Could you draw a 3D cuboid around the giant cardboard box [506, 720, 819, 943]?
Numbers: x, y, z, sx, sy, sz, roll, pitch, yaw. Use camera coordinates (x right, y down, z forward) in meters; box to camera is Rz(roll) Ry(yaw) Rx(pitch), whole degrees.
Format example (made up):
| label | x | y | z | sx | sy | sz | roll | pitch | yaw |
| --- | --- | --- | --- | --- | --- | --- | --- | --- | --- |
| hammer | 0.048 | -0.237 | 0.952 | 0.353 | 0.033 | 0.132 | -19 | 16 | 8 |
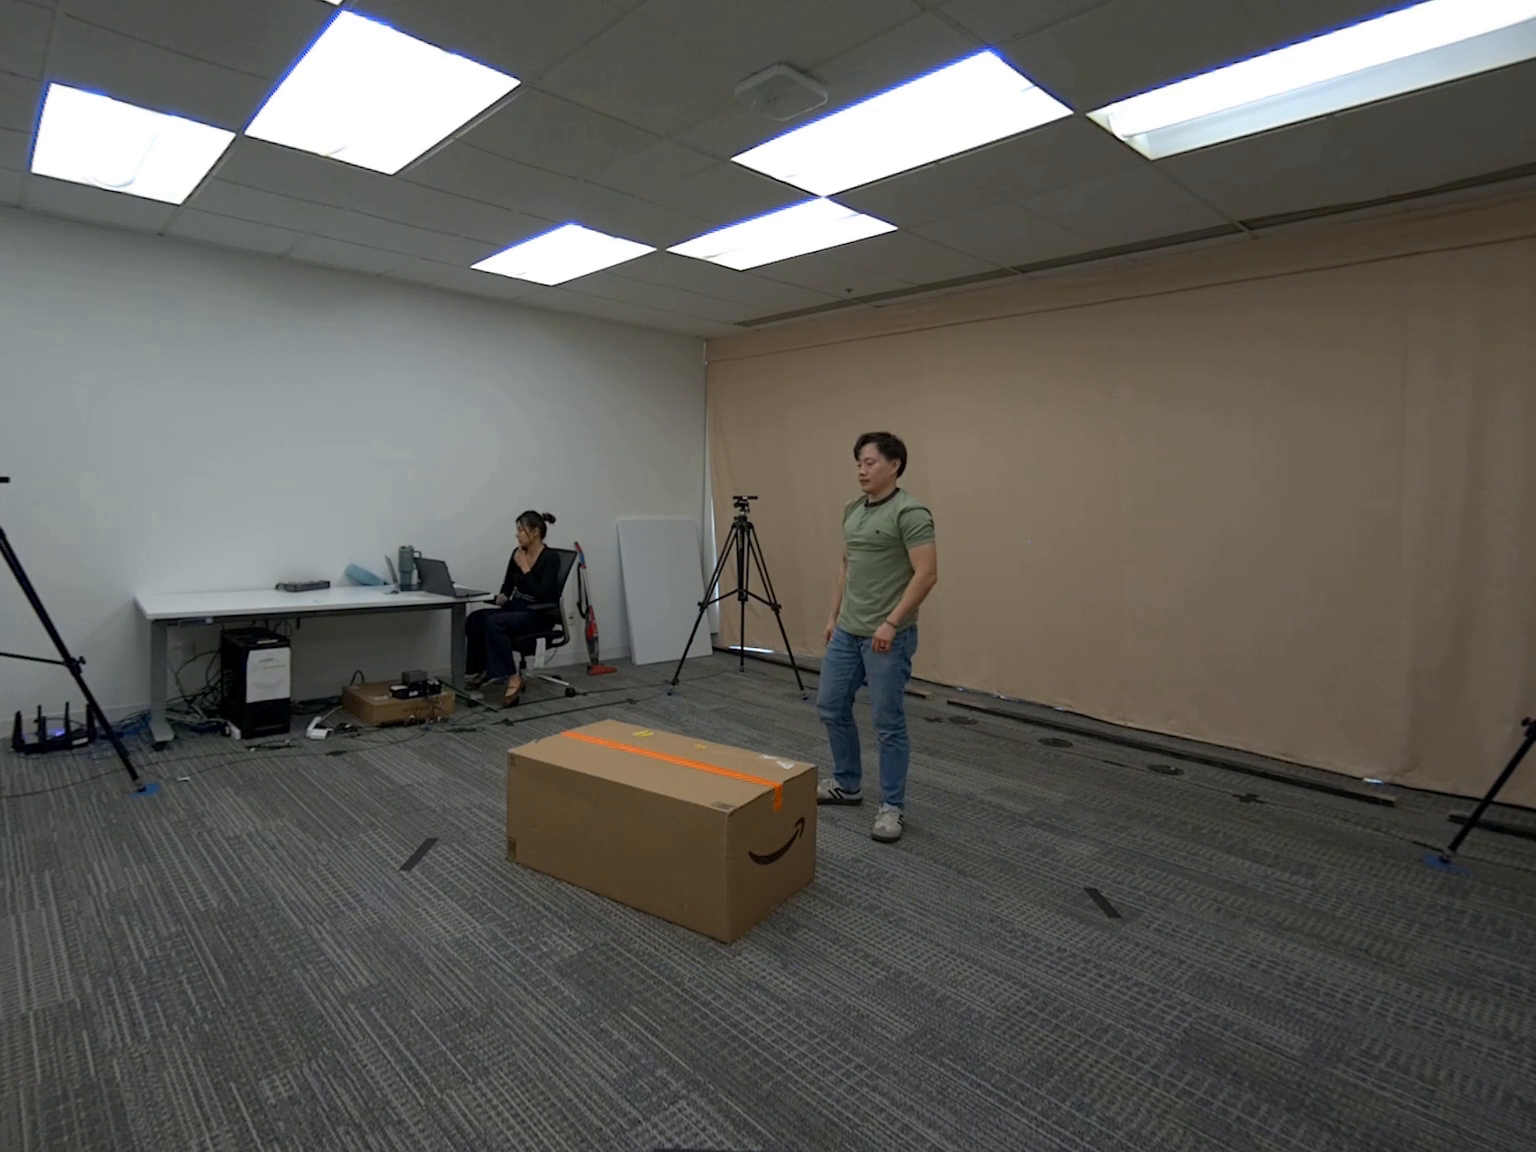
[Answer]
| label | x | y | z | sx | sy | sz | roll | pitch | yaw |
| --- | --- | --- | --- | --- | --- | --- | --- | --- | --- |
| giant cardboard box | -0.410 | 0.881 | 3.120 | 1.050 | 0.425 | 0.565 | 4 | 5 | 33 |
